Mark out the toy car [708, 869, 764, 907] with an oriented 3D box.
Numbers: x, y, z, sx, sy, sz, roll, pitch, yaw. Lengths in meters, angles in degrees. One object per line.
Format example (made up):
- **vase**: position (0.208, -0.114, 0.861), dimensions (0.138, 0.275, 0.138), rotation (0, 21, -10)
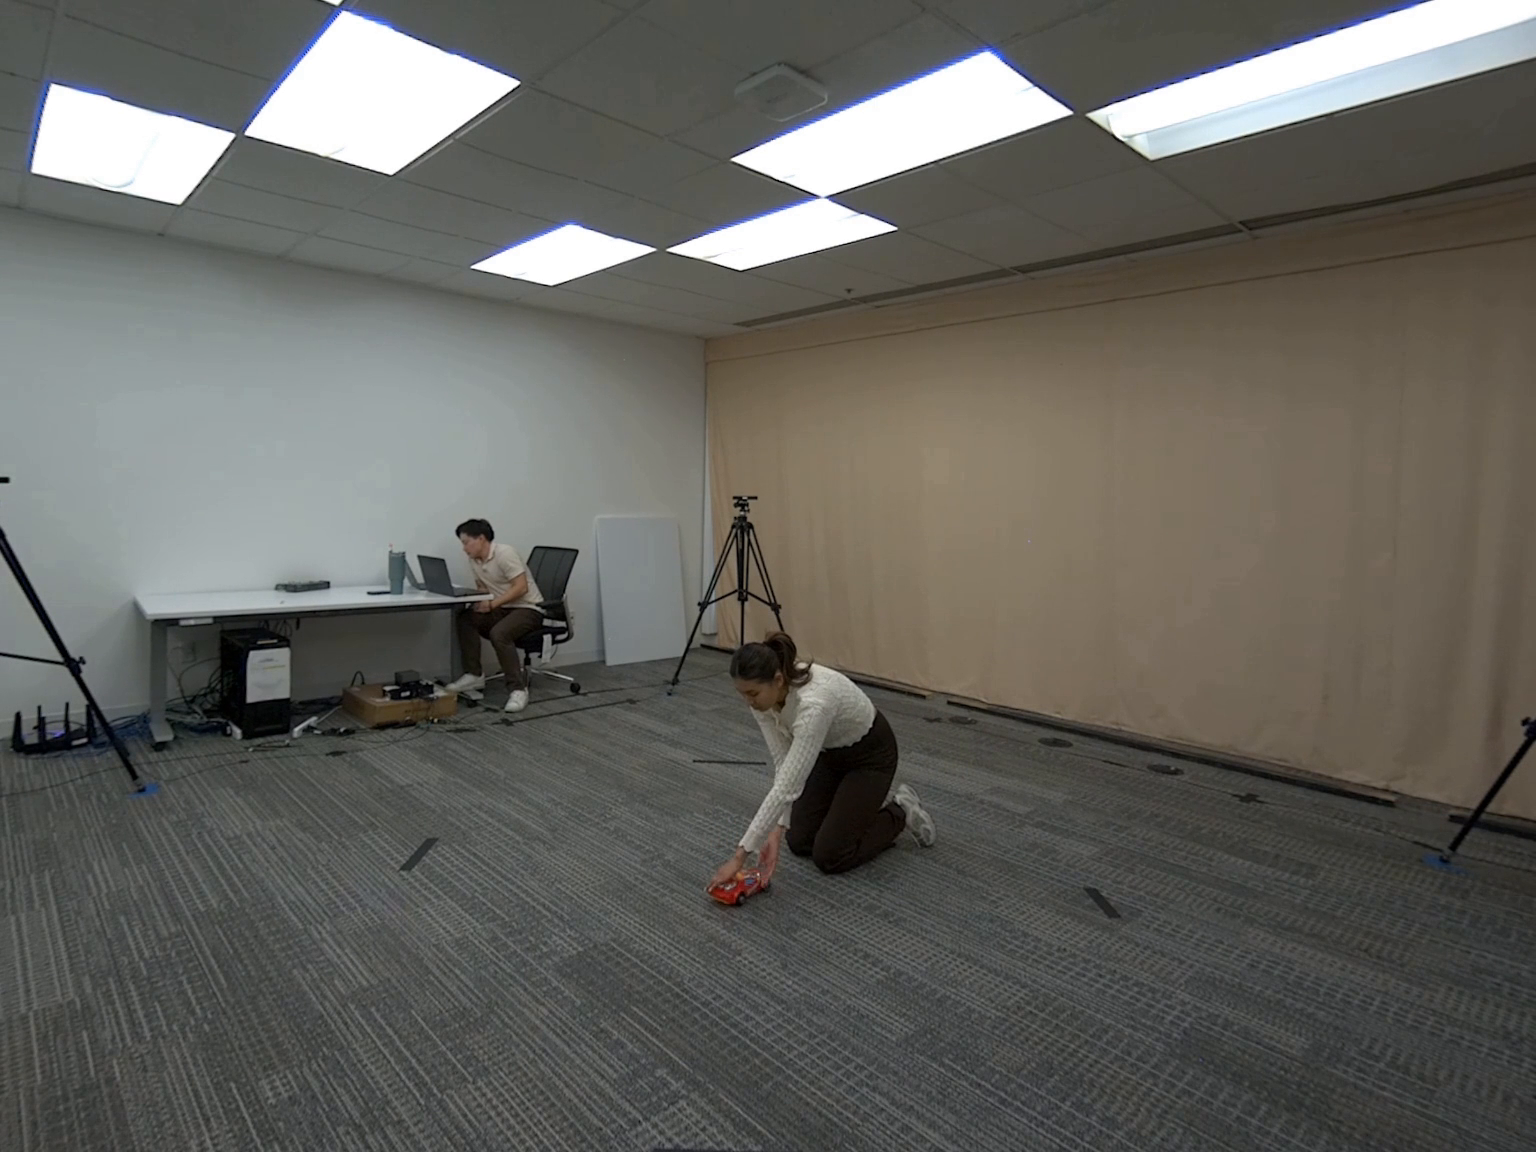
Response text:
- **toy car**: position (-0.118, 1.088, 2.933), dimensions (0.133, 0.083, 0.247), rotation (6, -4, 38)
